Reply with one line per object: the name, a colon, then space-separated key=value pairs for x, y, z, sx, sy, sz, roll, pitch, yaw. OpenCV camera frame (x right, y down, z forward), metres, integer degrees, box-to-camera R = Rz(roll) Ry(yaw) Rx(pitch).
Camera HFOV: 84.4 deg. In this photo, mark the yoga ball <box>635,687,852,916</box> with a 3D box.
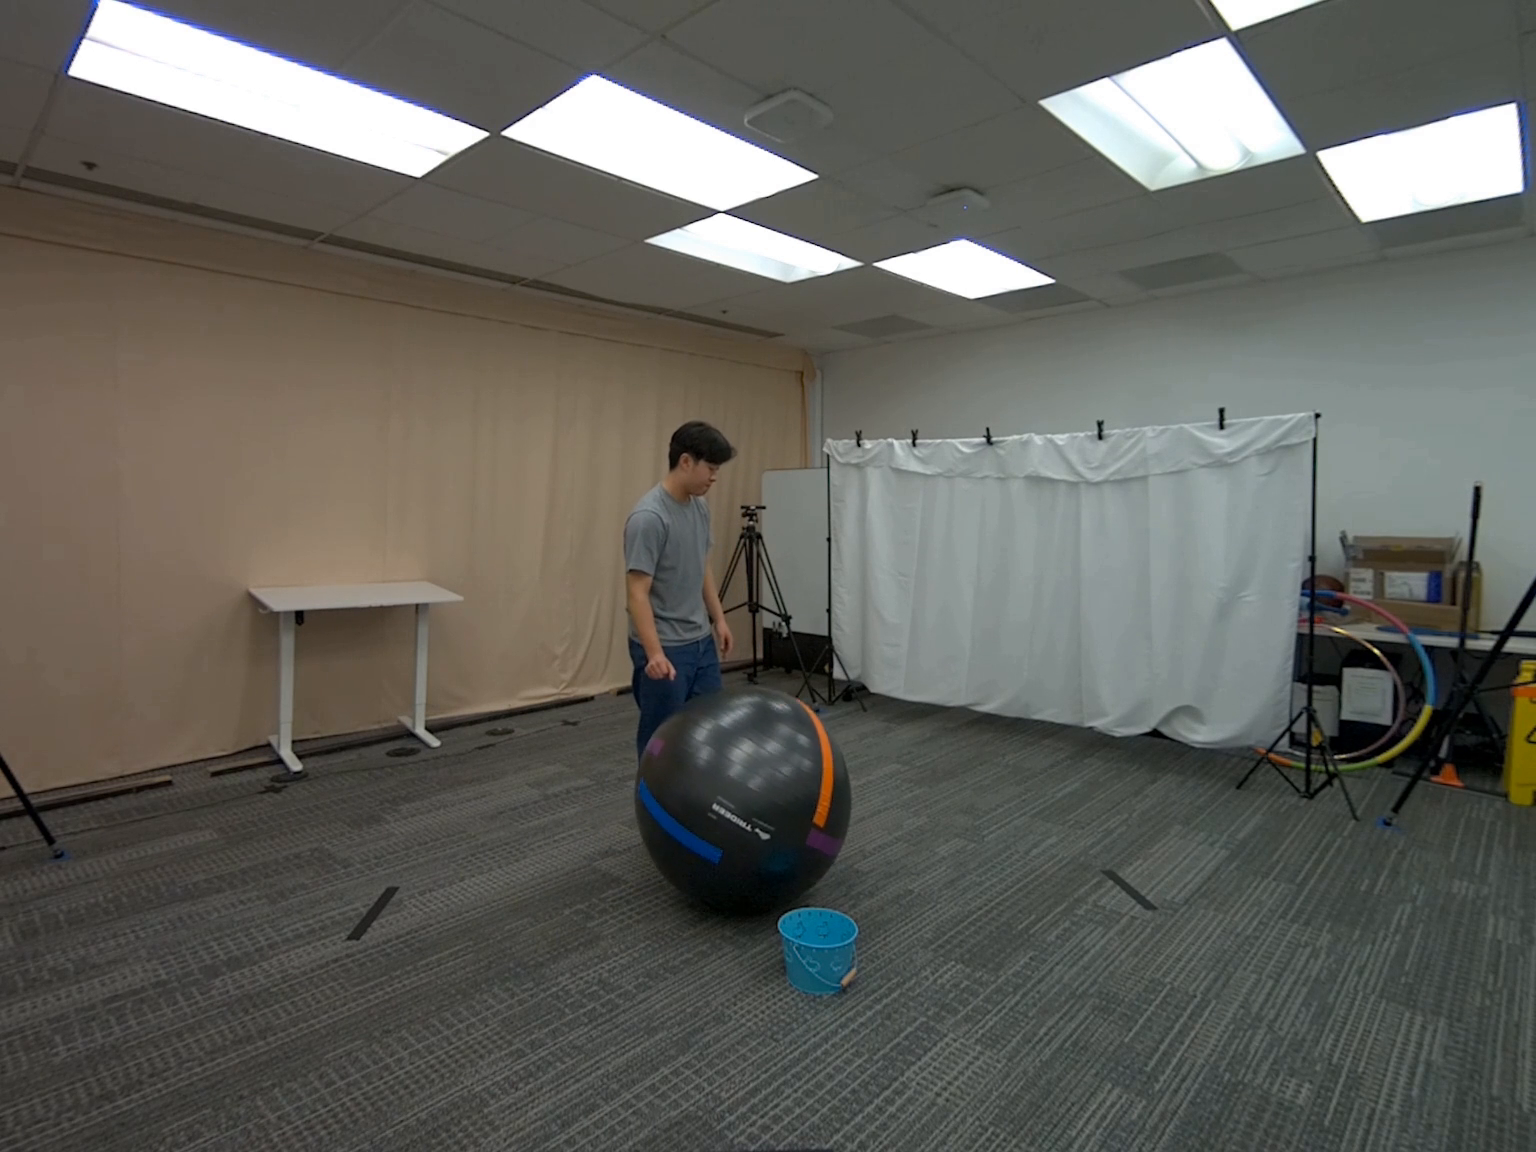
yoga ball: x=-0.081 y=0.777 z=2.946 sx=0.757 sy=0.756 sz=0.760 roll=0 pitch=4 yaw=-2
